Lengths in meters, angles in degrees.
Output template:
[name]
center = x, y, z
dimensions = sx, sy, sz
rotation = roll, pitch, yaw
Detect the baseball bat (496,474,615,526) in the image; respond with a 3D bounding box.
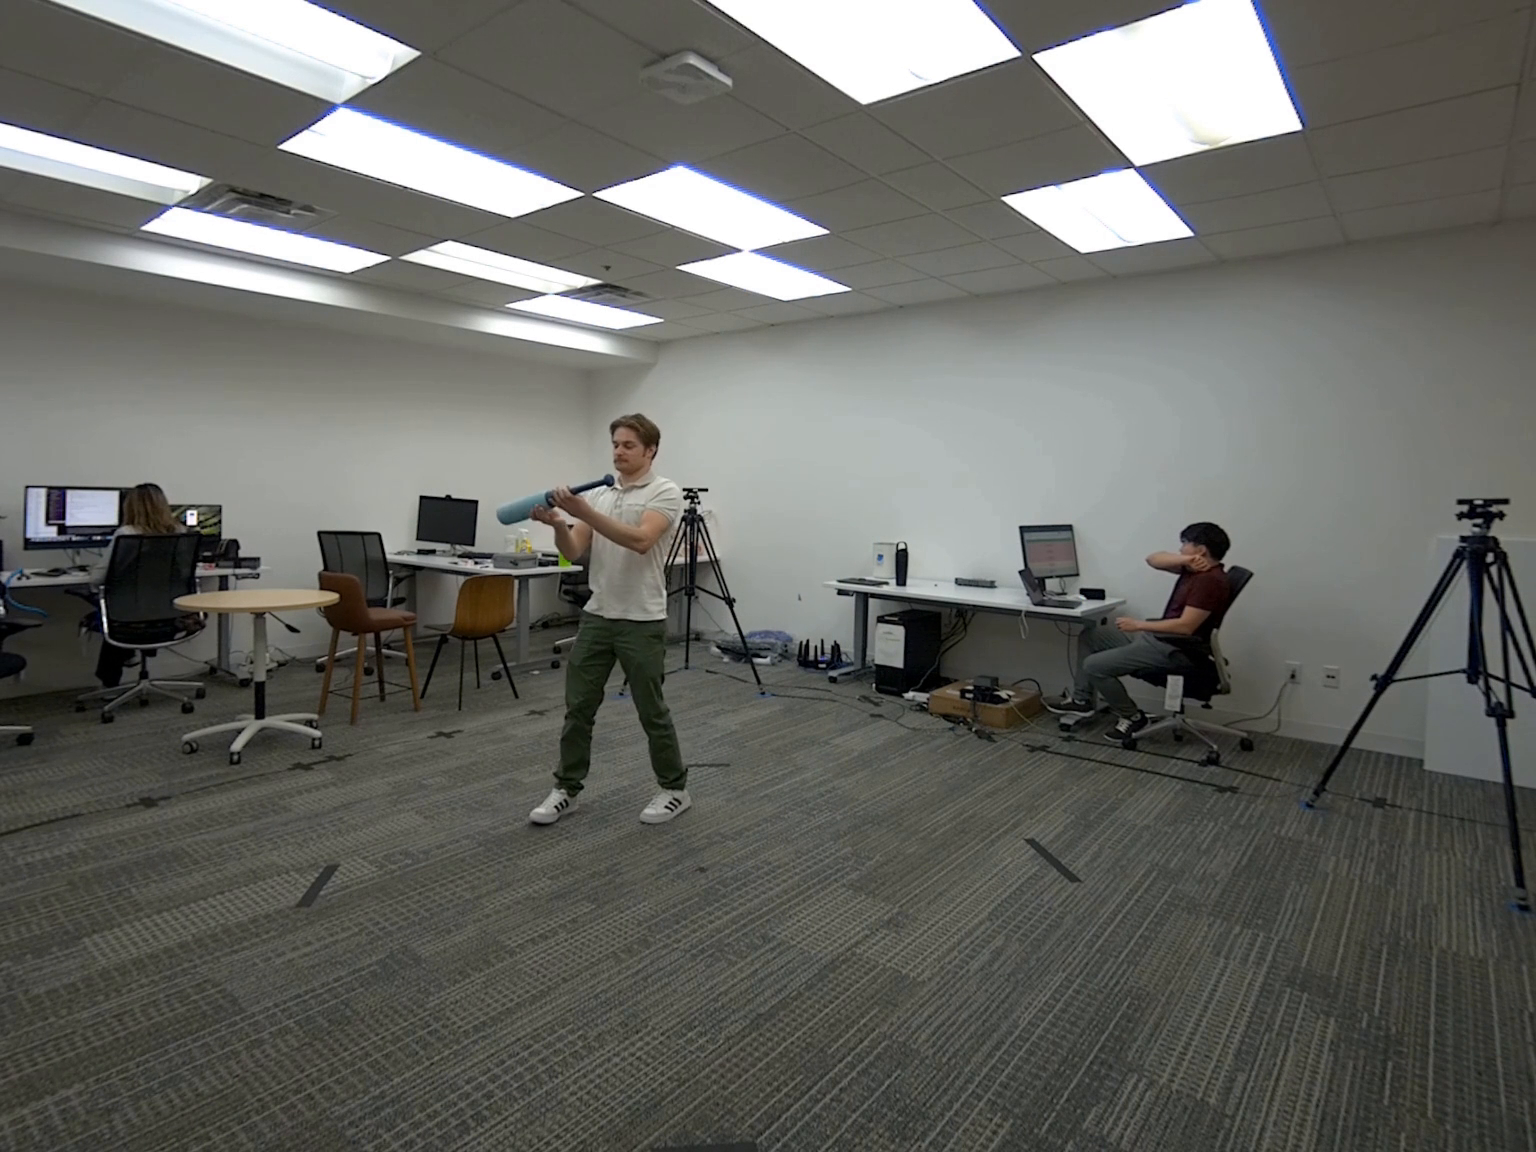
[baseball bat]
center = -0.825, -0.300, 3.237
dimensions = 0.553, 0.089, 0.087
rotation = -14, -4, 28
